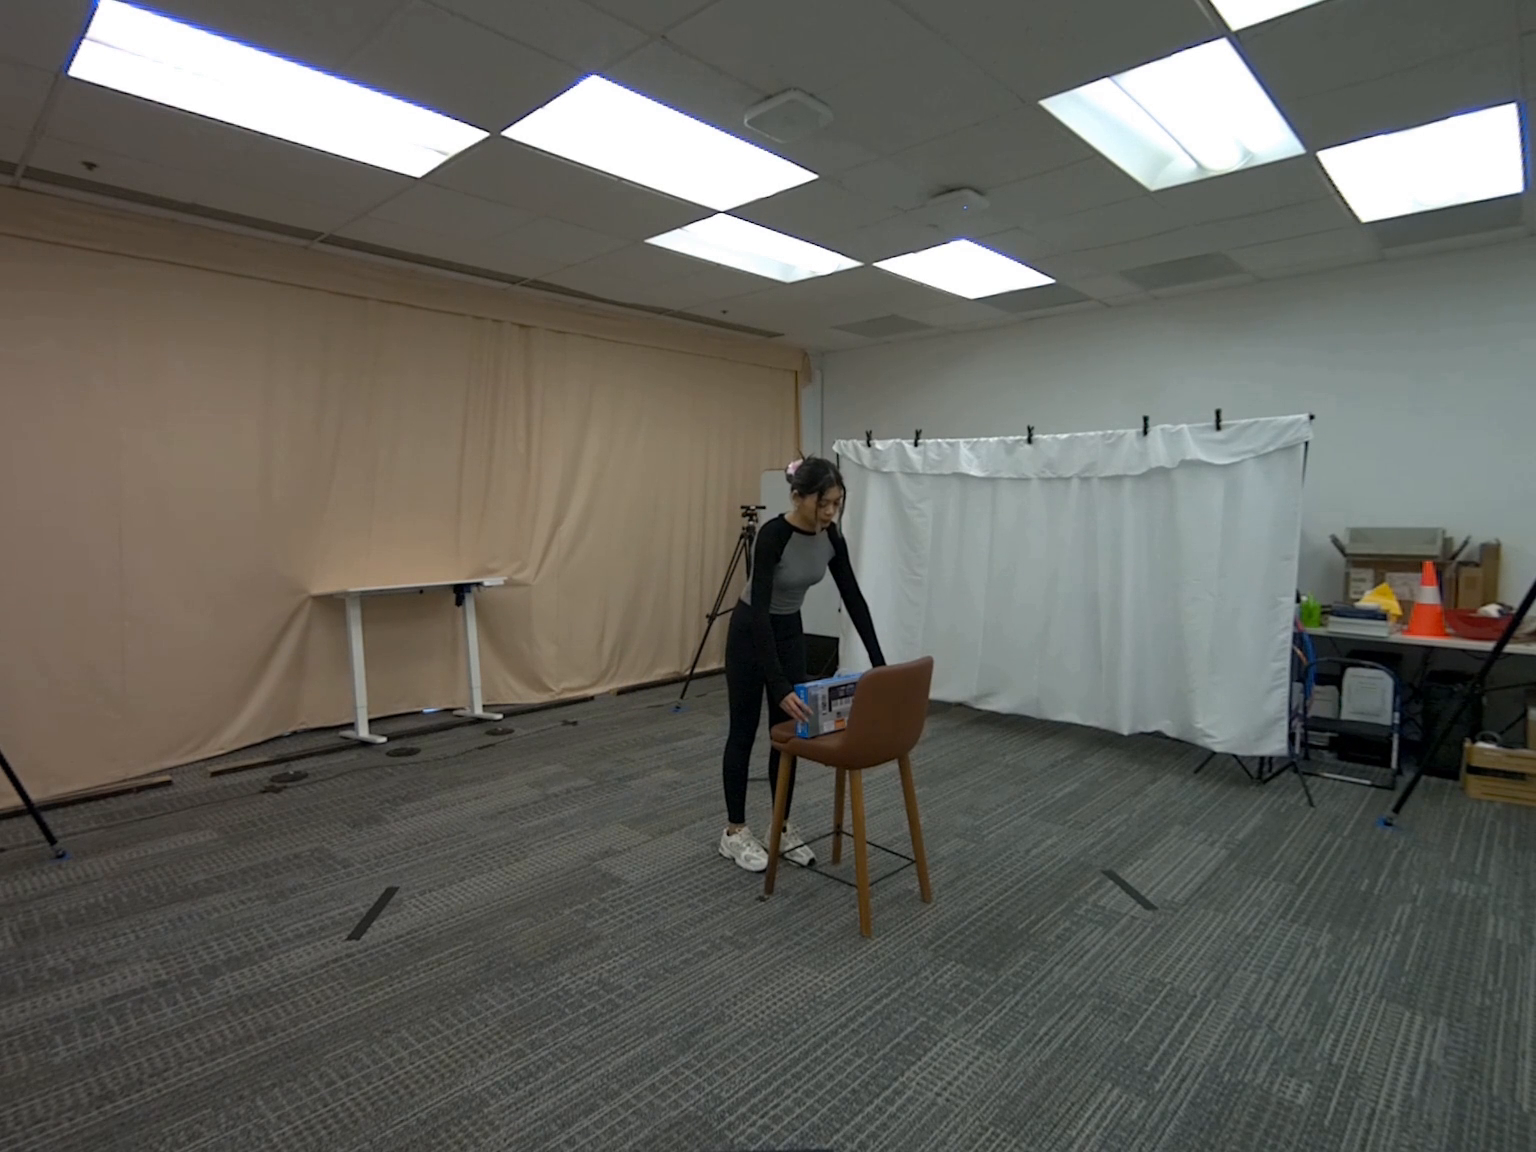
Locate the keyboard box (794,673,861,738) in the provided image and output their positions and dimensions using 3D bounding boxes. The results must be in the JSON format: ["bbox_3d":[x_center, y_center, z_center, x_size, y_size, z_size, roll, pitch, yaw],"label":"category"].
[{"bbox_3d":[0.277,0.444,2.964,0.423,0.176,0.061,-3,2,-40],"label":"keyboard box"}]
